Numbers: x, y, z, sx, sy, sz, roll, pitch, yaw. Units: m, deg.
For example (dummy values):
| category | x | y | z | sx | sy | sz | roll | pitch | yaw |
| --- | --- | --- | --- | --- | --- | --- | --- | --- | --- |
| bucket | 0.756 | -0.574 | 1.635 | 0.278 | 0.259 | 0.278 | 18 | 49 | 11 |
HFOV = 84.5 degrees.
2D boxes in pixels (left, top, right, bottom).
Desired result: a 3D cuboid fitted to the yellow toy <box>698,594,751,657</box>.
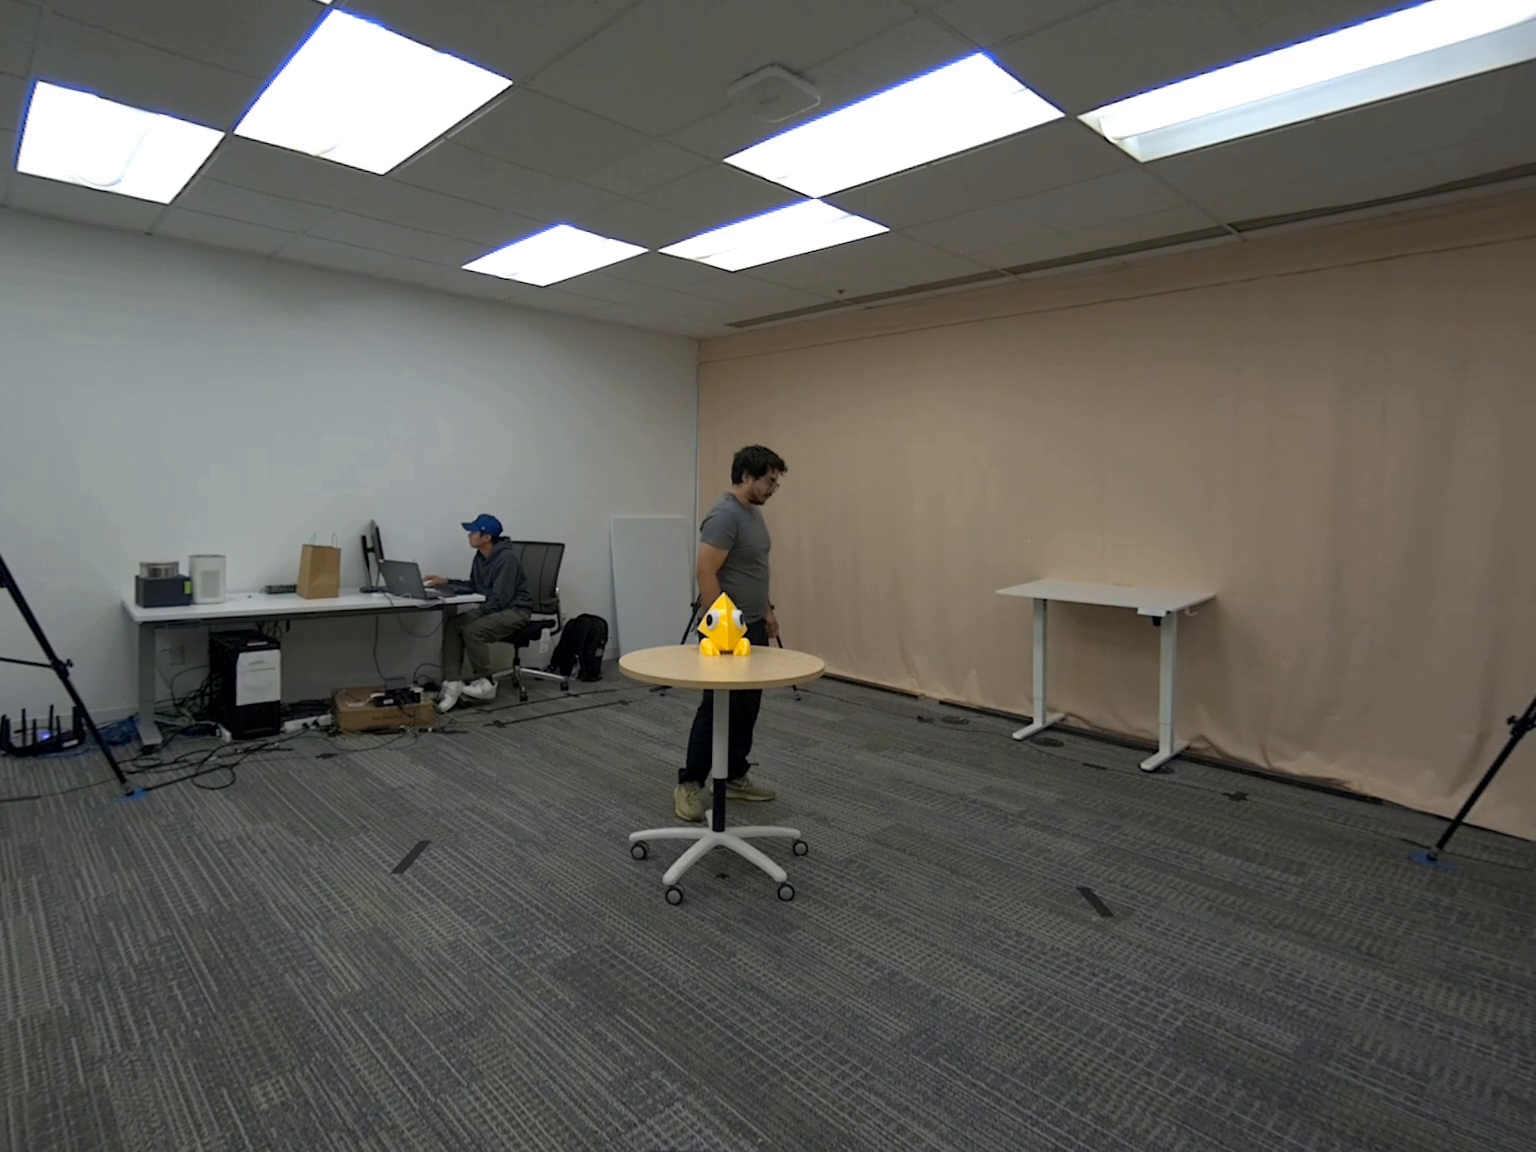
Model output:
| category | x | y | z | sx | sy | sz | roll | pitch | yaw |
| --- | --- | --- | --- | --- | --- | --- | --- | --- | --- |
| yellow toy | -0.184 | 0.189 | 3.334 | 0.203 | 0.230 | 0.195 | 1 | 3 | -9 |
